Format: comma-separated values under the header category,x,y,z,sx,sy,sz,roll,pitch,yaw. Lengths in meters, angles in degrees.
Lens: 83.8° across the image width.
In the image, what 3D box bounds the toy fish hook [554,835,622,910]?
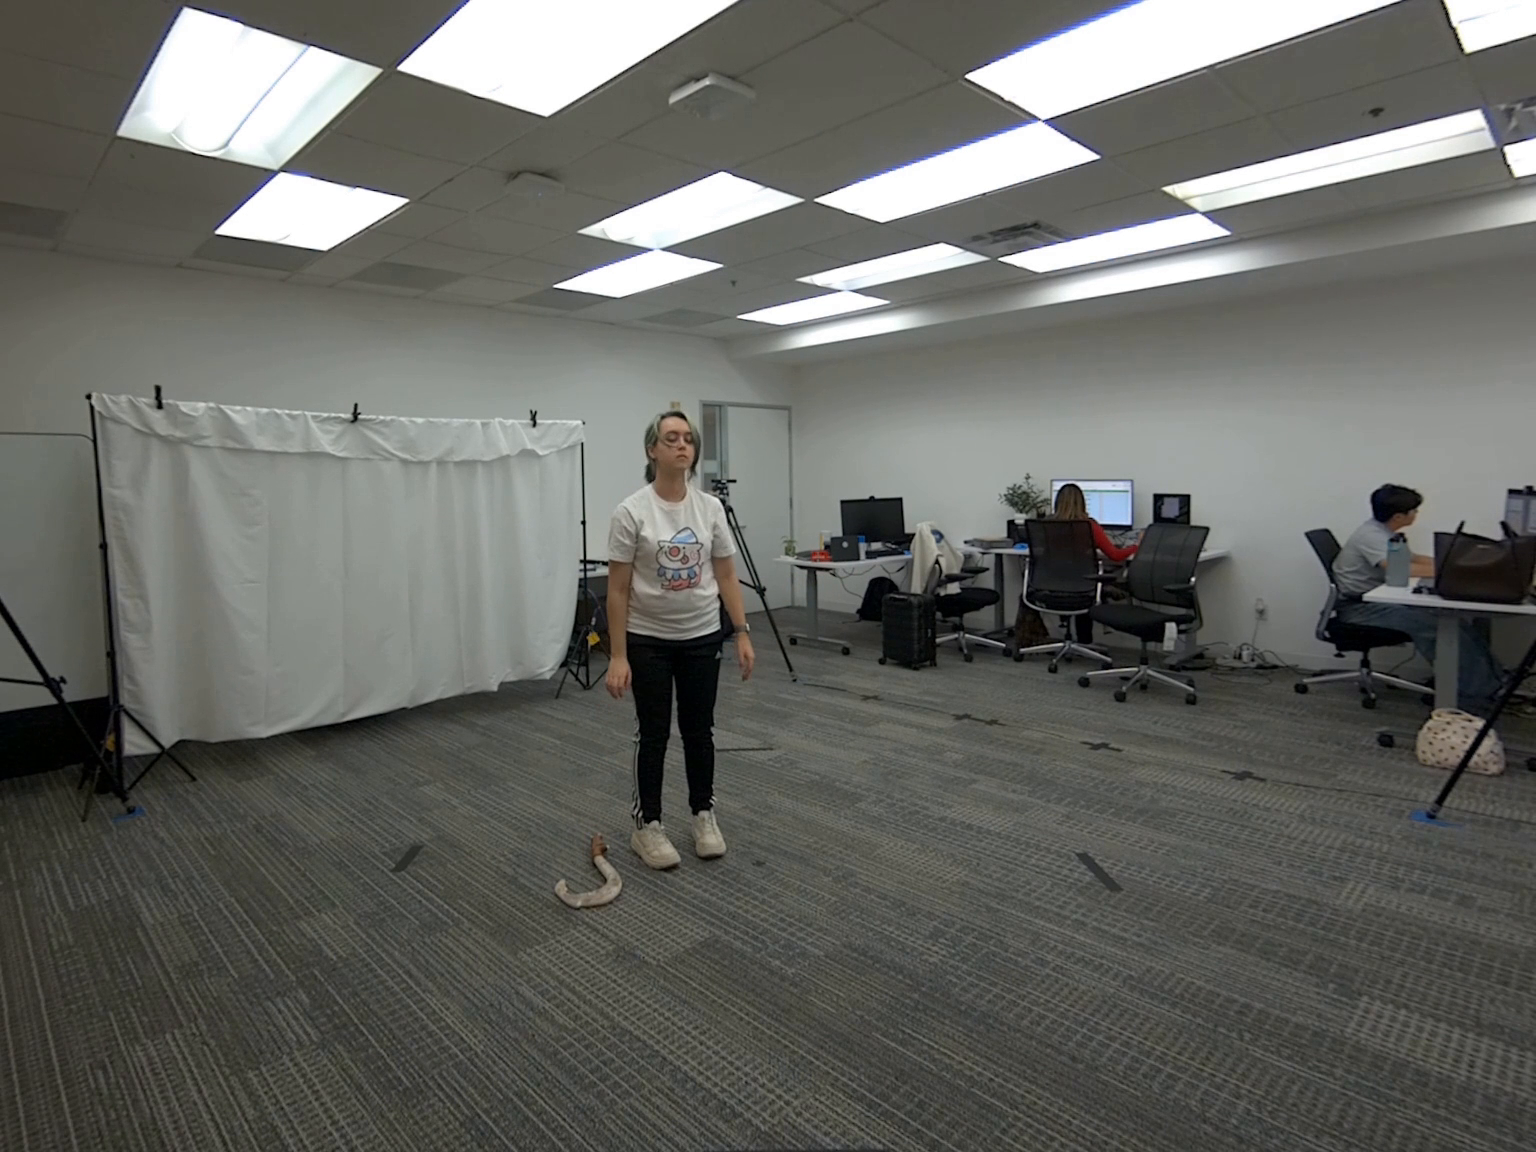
category,x,y,z,sx,sy,sz,roll,pitch,yaw
toy fish hook,-0.645,1.043,3.048,0.222,0.048,0.515,-2,6,-14
